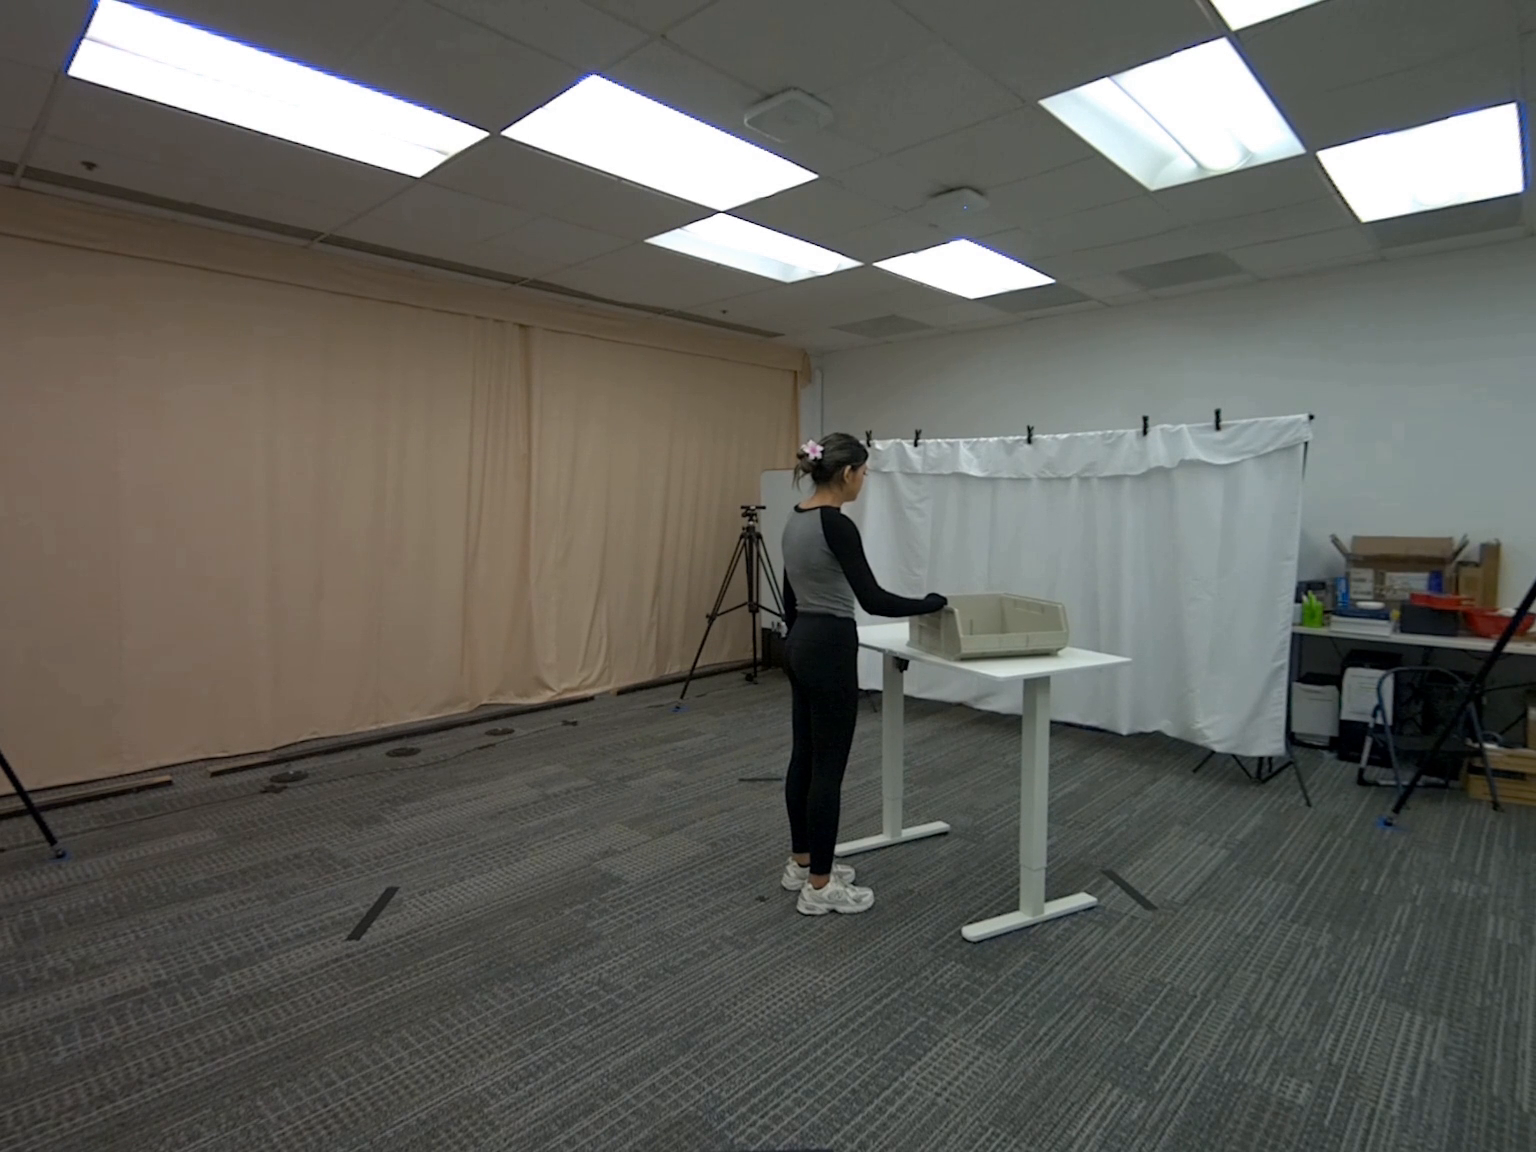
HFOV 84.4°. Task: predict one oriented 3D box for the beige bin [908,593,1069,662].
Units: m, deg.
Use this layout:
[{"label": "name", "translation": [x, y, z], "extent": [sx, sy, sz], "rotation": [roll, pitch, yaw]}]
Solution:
[{"label": "beige bin", "translation": [0.759, 0.178, 2.927], "extent": [0.416, 0.189, 0.384], "rotation": [-2, 3, -15]}]
